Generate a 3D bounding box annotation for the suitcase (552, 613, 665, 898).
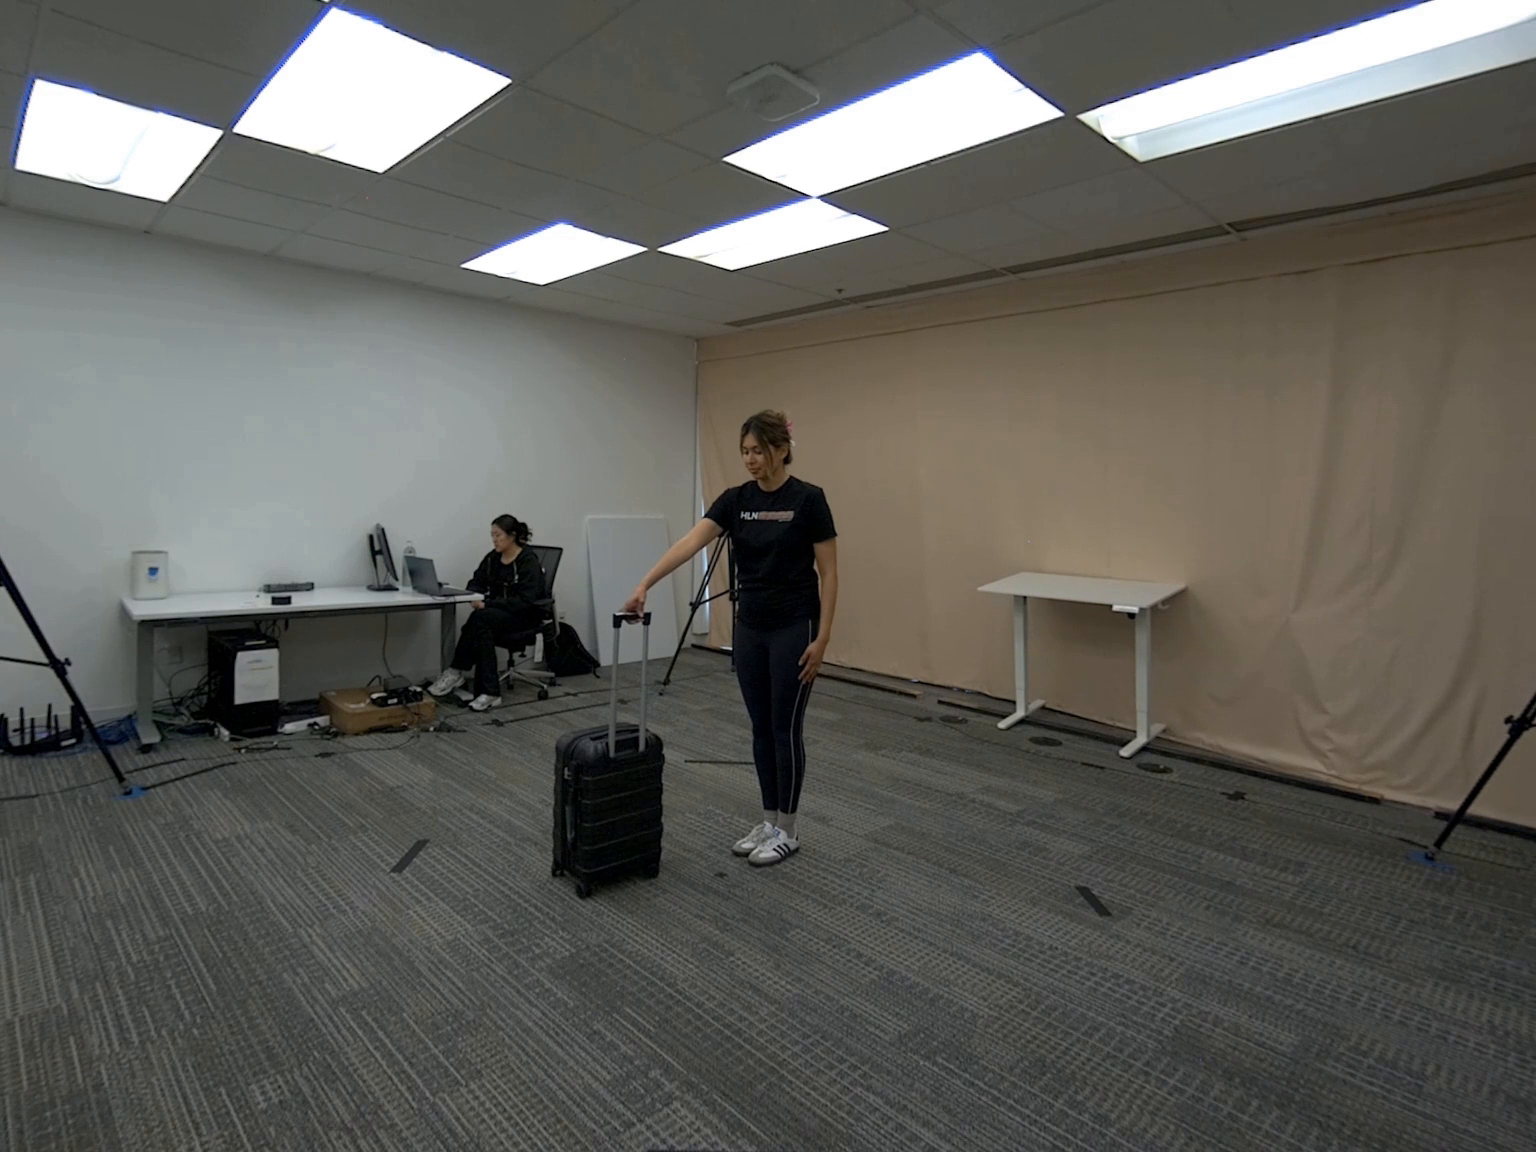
[{"bbox_3d":[-0.587,0.623,3.044,0.375,0.977,0.263,-1,3,-41],"label":"suitcase"}]
